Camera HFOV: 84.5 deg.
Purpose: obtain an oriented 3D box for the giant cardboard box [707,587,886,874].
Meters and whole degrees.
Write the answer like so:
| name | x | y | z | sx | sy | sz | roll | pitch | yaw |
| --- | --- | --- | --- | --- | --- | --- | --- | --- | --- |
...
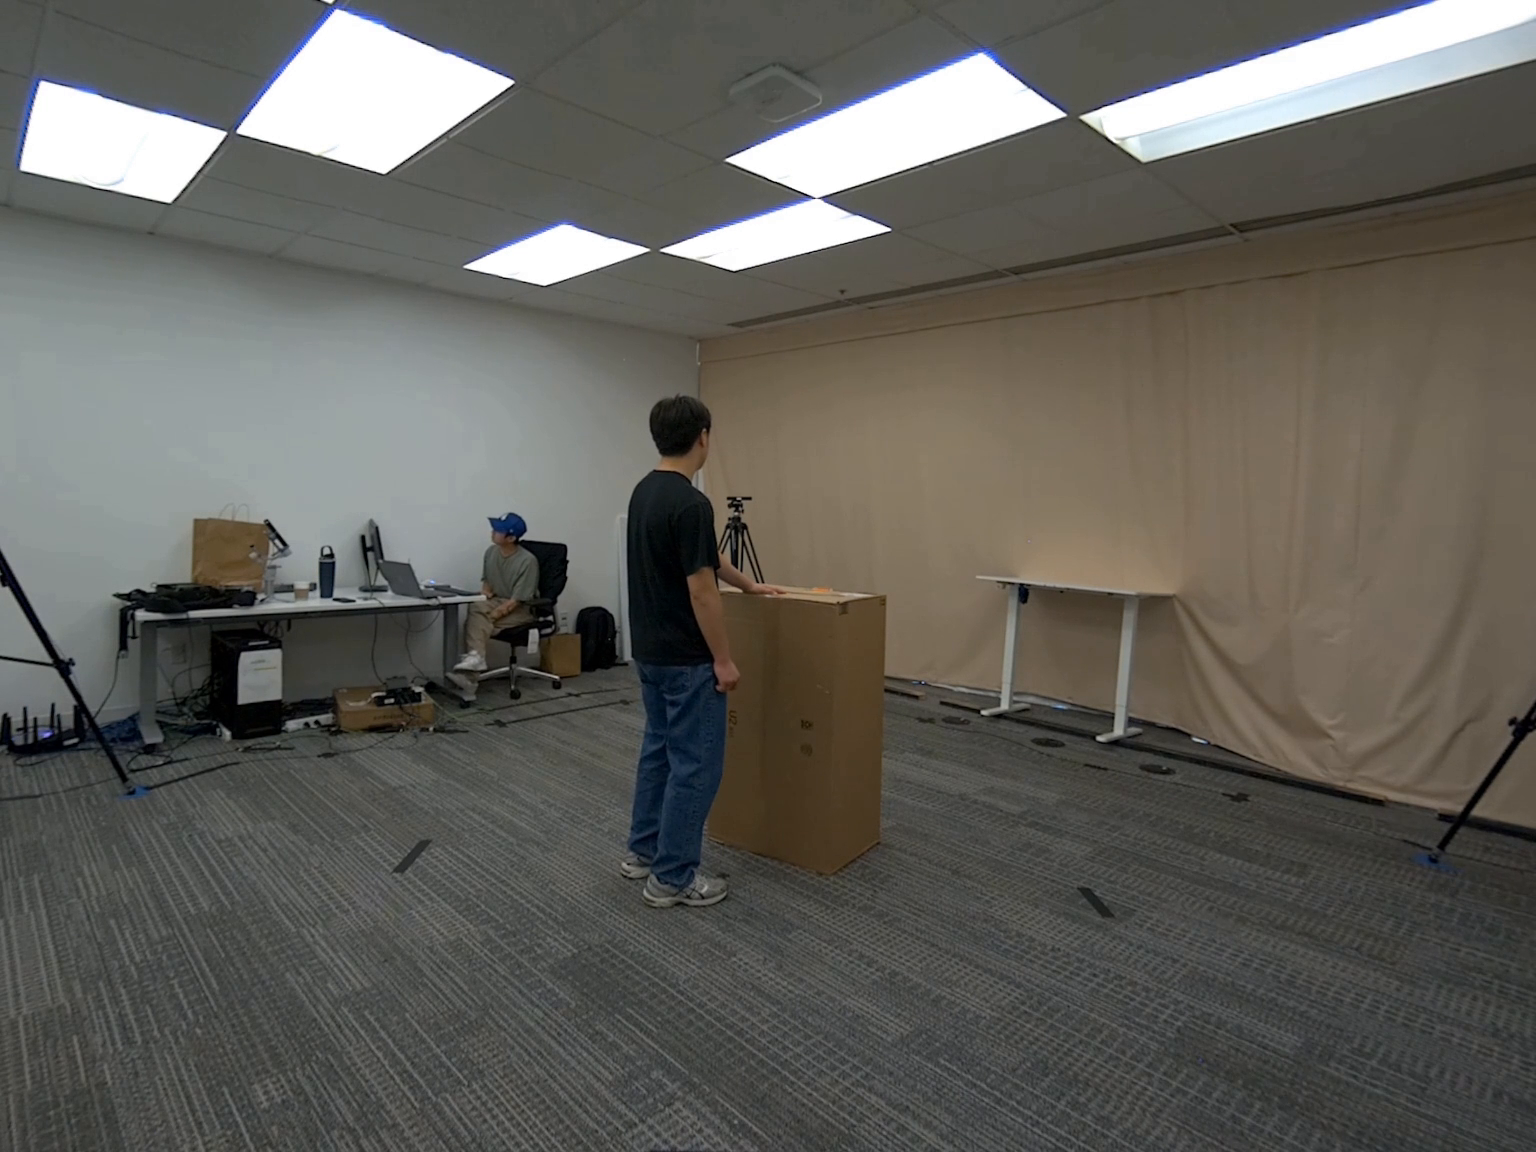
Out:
| name | x | y | z | sx | sy | sz | roll | pitch | yaw |
| --- | --- | --- | --- | --- | --- | --- | --- | --- | --- |
| giant cardboard box | 0.118 | 0.574 | 3.431 | 0.598 | 1.025 | 0.437 | 4 | 3 | 36 |
